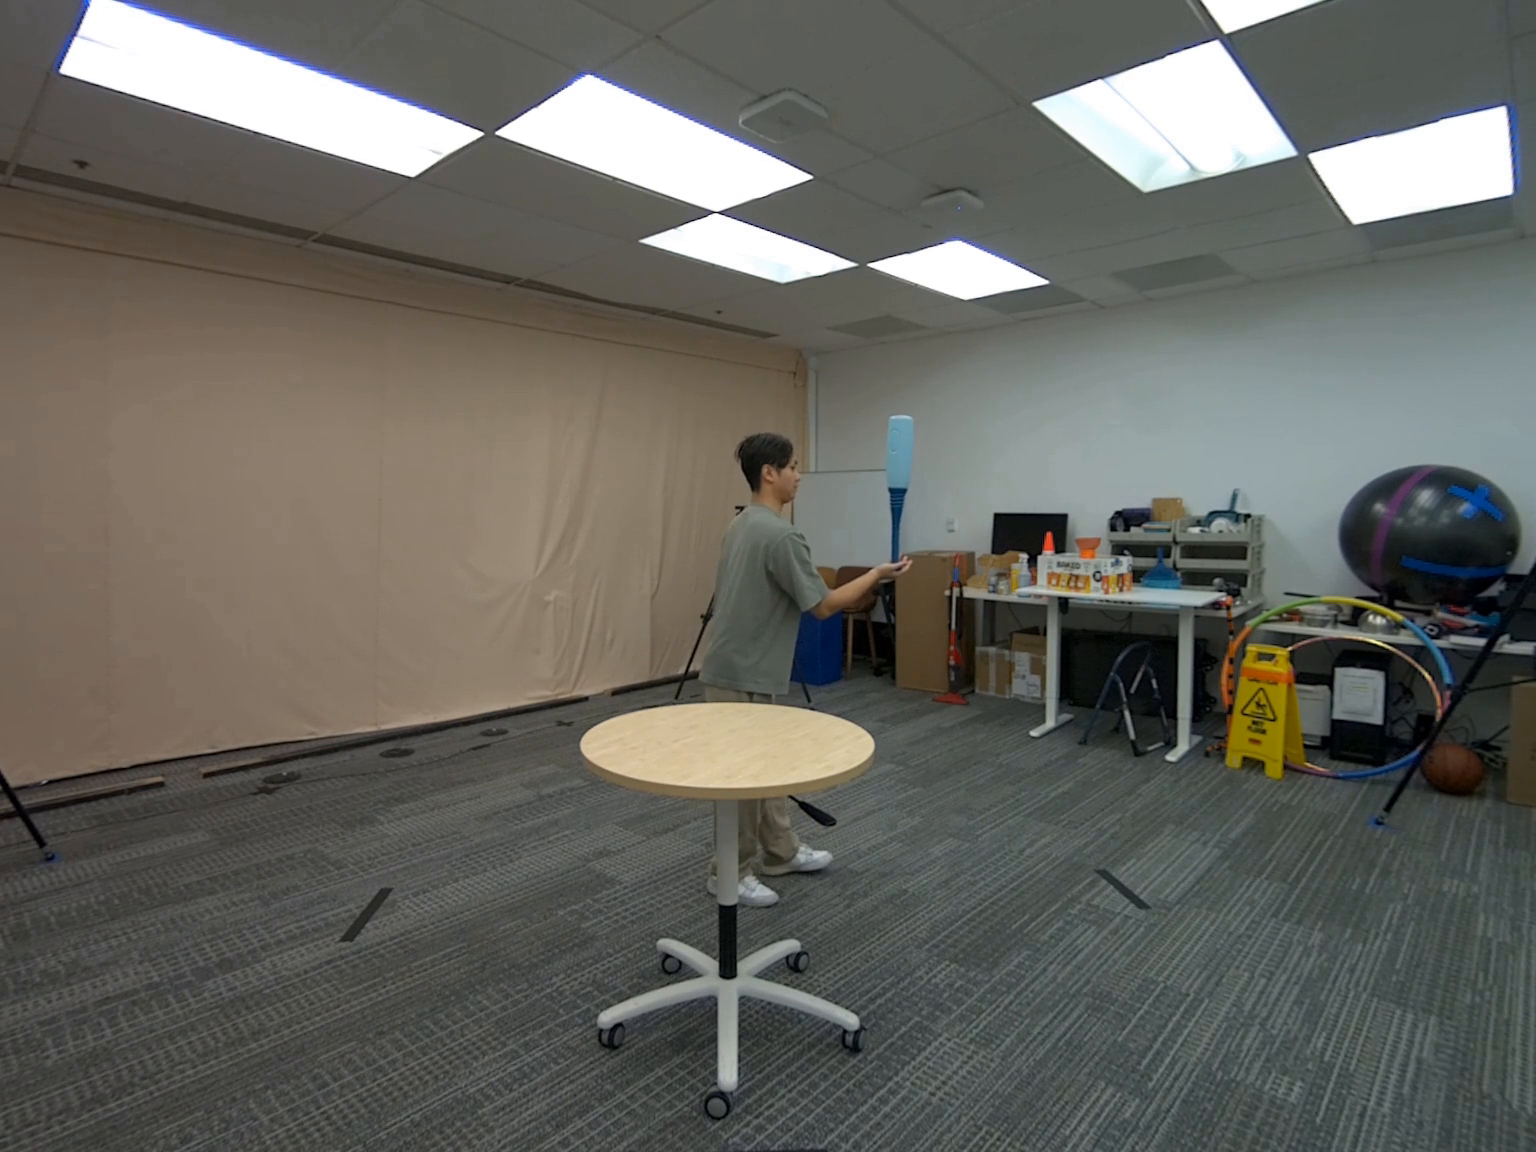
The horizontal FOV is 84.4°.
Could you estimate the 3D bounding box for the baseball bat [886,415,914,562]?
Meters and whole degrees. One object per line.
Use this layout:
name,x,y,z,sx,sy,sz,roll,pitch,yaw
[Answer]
baseball bat,0.464,-0.293,2.959,0.089,0.541,0.089,2,4,-2
